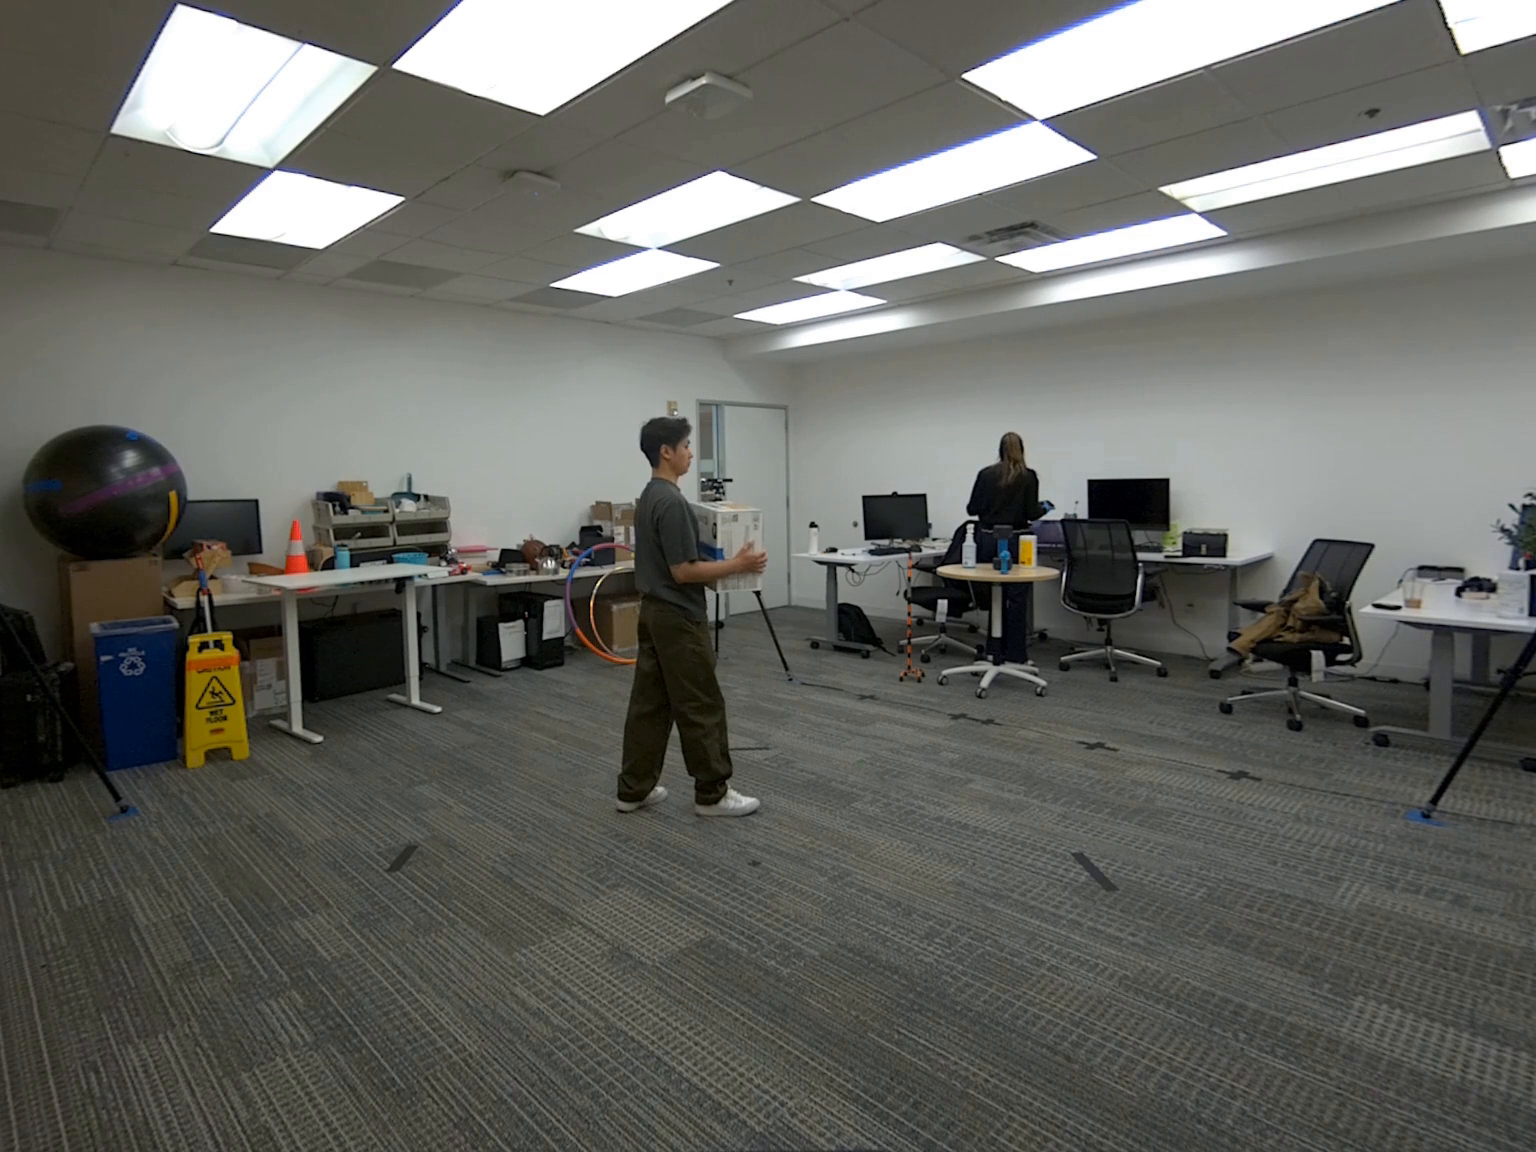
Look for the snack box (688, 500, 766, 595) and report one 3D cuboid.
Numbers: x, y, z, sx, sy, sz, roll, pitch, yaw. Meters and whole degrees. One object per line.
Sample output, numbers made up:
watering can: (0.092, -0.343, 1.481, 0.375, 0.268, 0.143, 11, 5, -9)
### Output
snack box: (-0.187, -0.136, 3.684, 0.202, 0.338, 0.416, -3, 10, -21)
